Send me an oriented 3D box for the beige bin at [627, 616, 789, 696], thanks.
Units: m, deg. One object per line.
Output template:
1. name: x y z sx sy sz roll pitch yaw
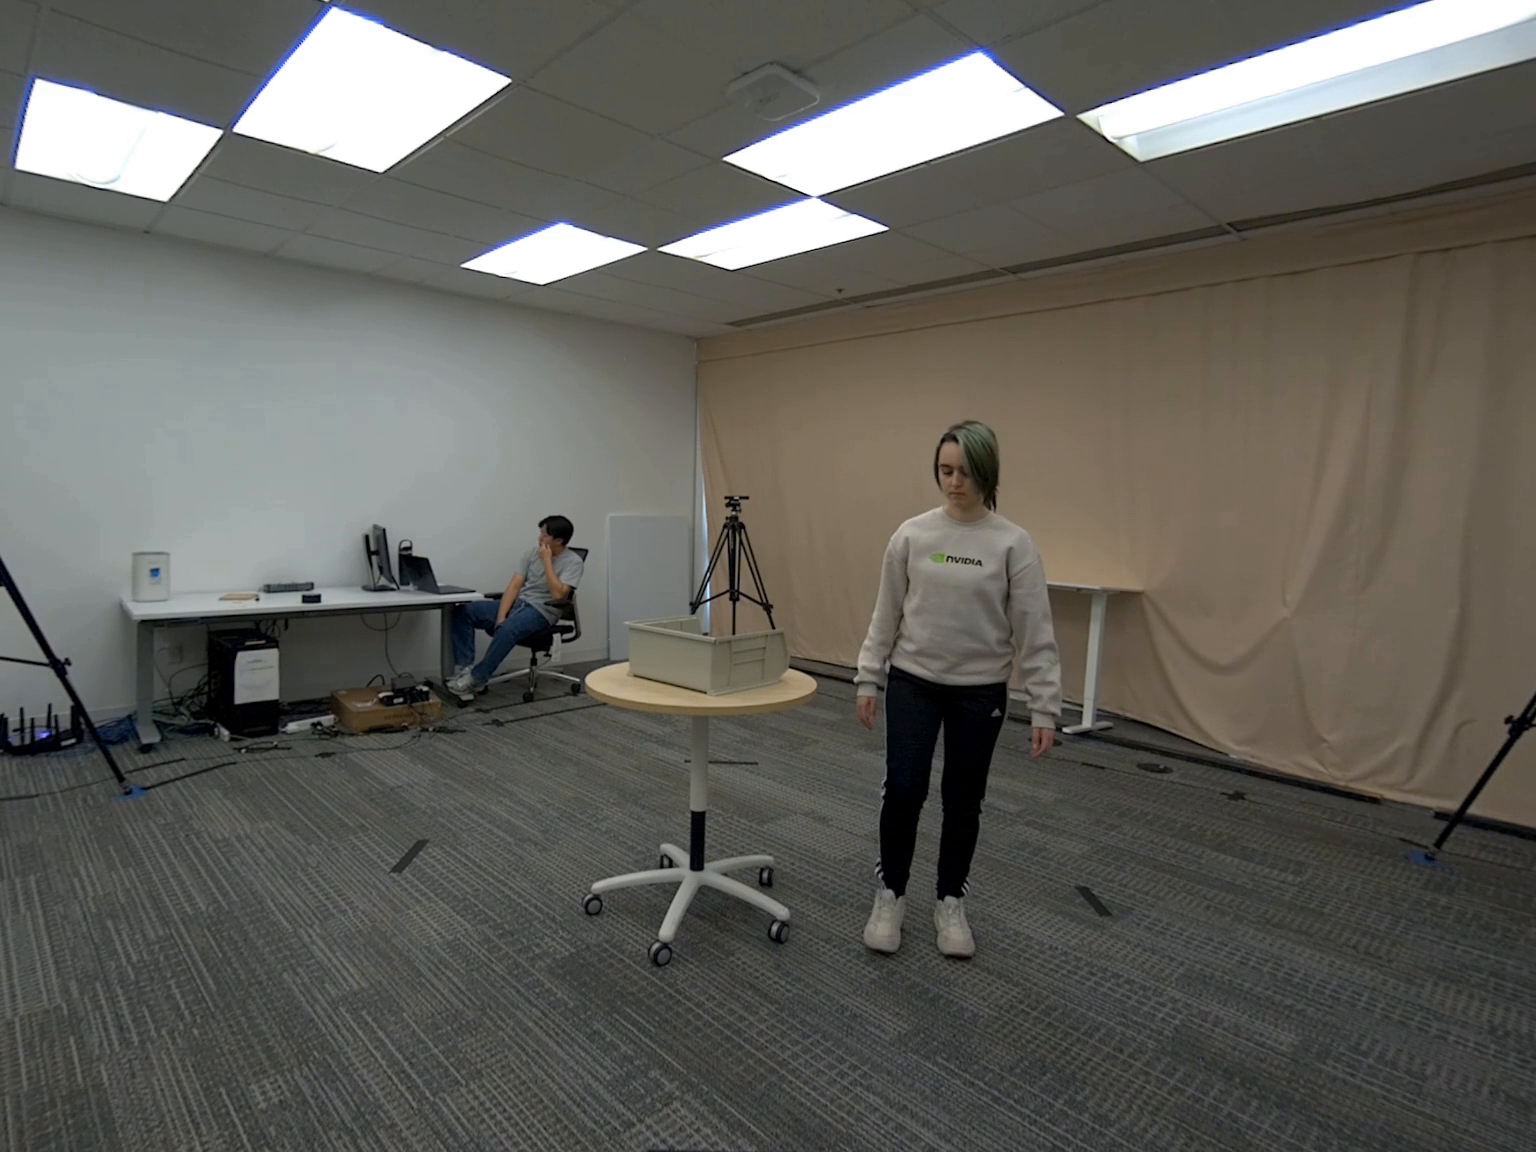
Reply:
1. beige bin: -0.205 0.254 2.819 0.433 0.188 0.369 6 8 41
